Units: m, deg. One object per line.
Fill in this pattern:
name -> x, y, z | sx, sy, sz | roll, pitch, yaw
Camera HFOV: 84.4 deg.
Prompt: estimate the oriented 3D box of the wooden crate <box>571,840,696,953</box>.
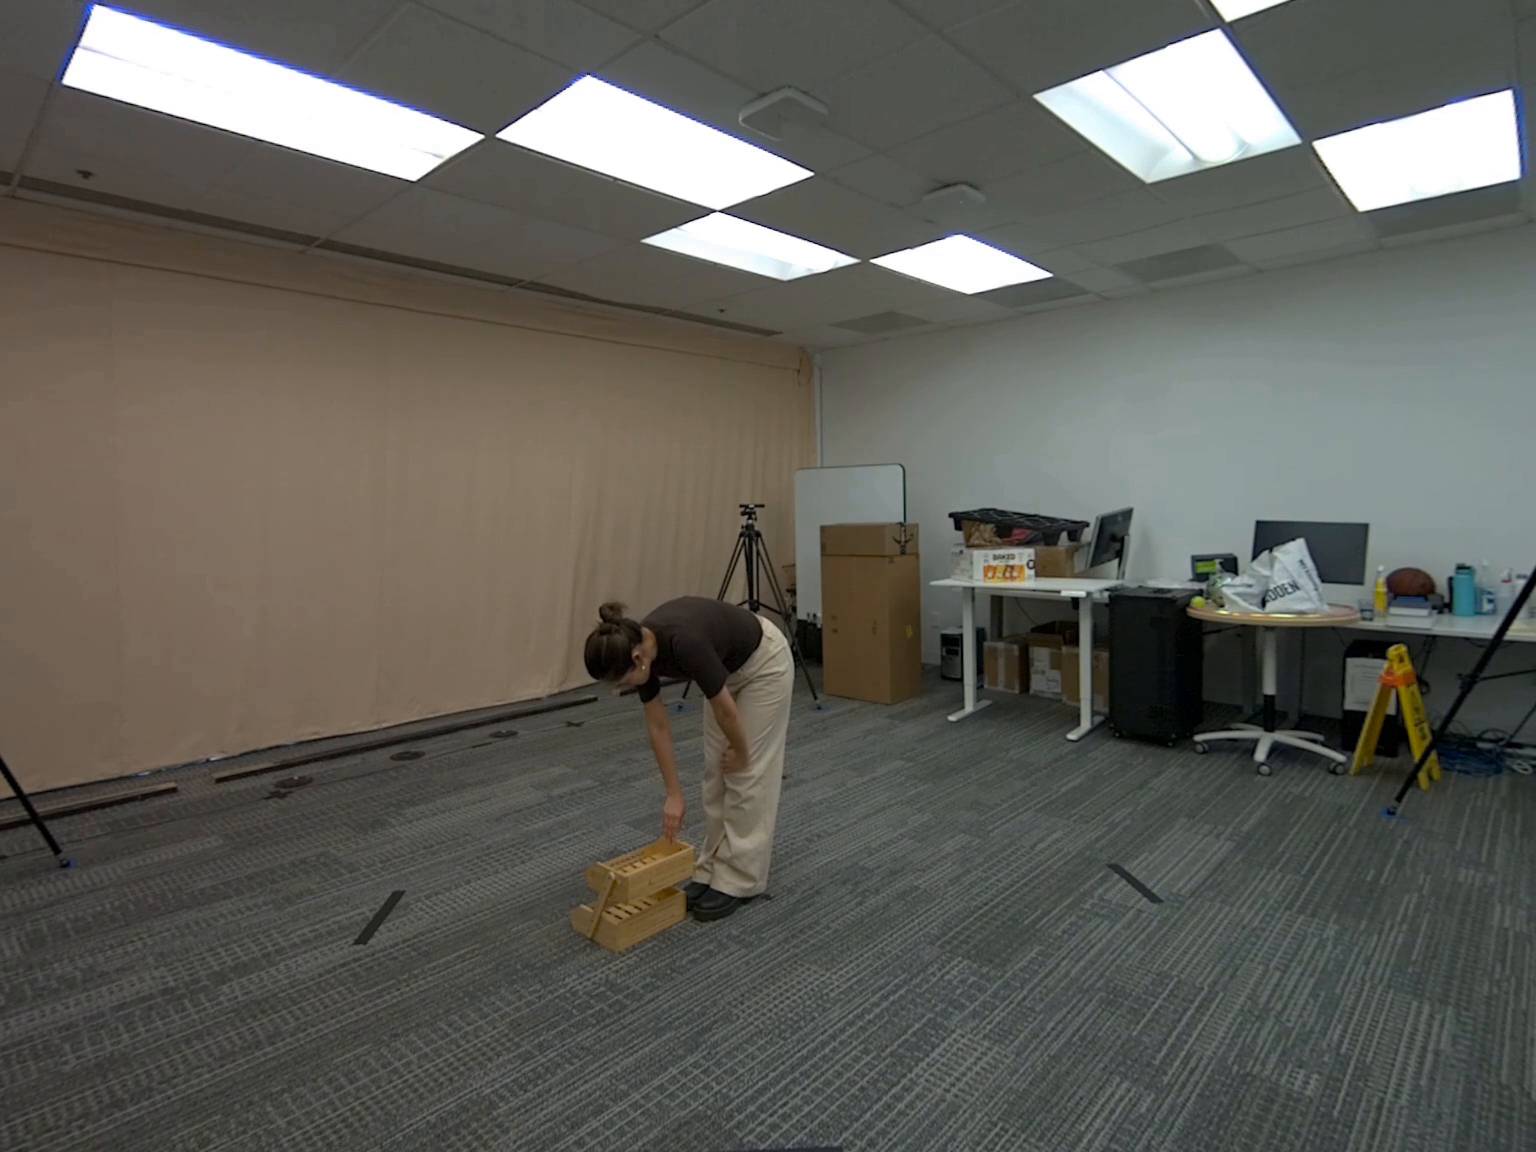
wooden crate -> -0.450, 1.029, 2.800 | 0.312, 0.272, 0.314 | 4, 6, 43
